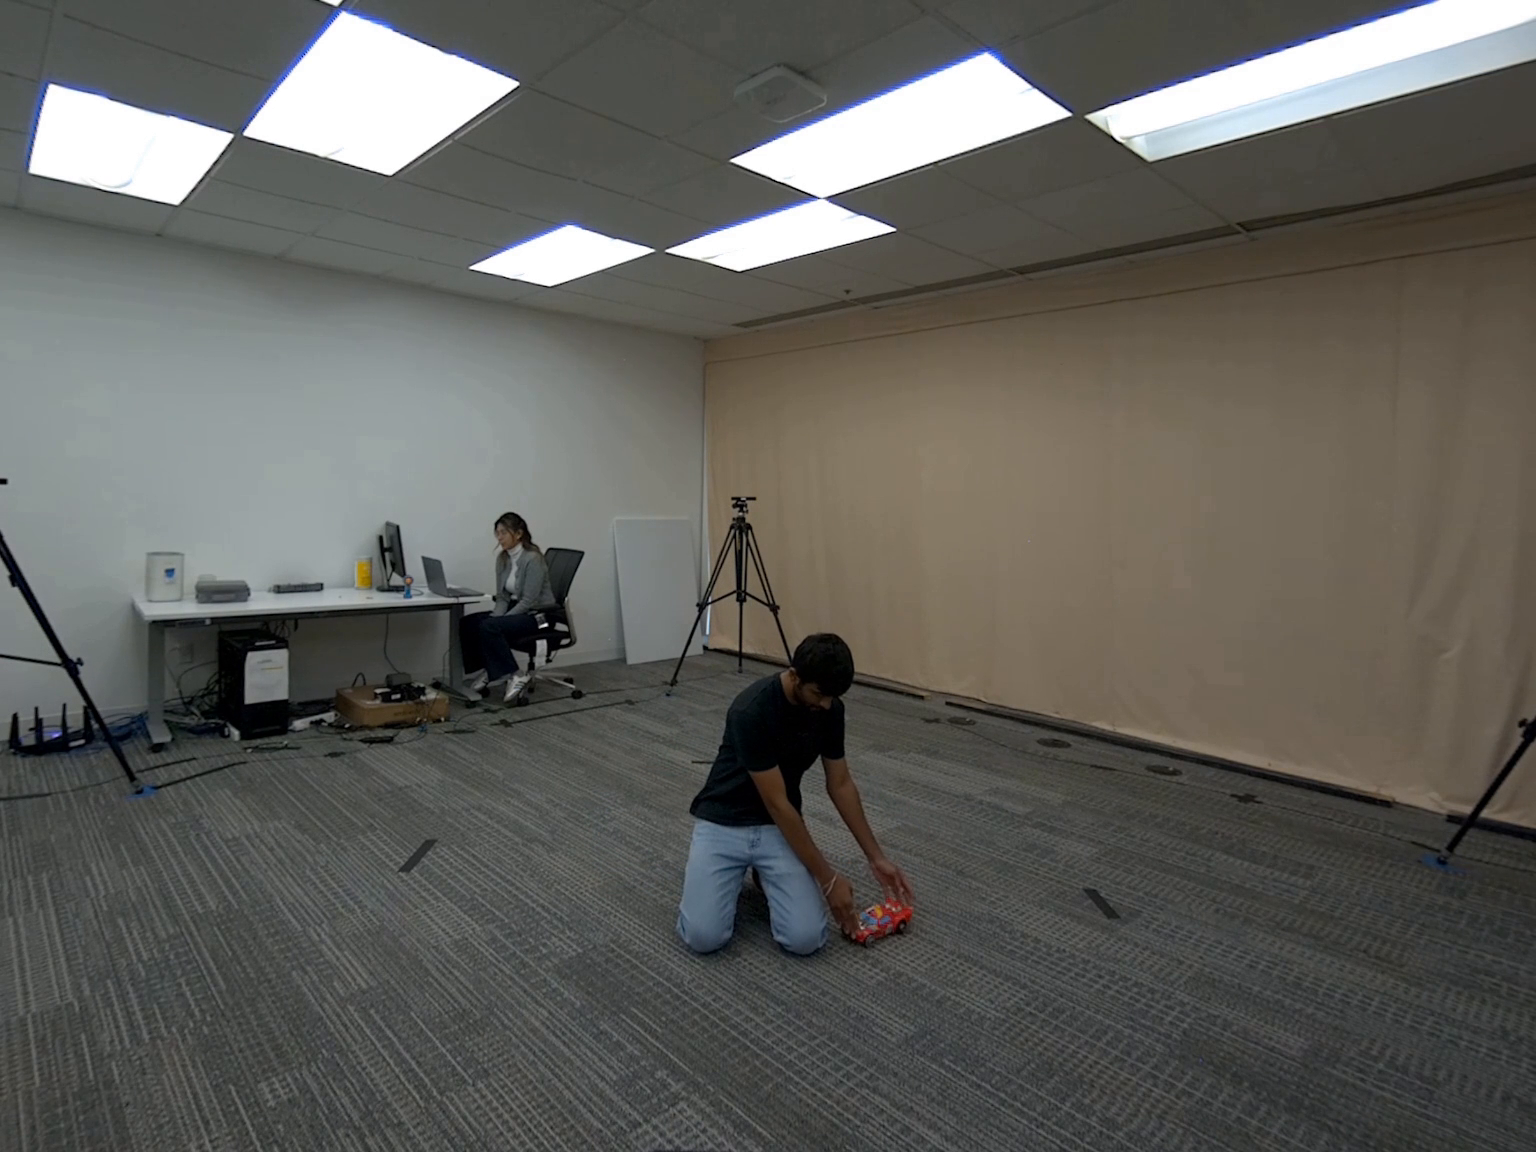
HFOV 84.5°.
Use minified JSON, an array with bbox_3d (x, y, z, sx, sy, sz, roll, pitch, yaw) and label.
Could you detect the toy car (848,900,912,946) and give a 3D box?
[{"bbox_3d":[0.354,1.119,2.718,0.250,0.082,0.133,-15,13,-36],"label":"toy car"}]
